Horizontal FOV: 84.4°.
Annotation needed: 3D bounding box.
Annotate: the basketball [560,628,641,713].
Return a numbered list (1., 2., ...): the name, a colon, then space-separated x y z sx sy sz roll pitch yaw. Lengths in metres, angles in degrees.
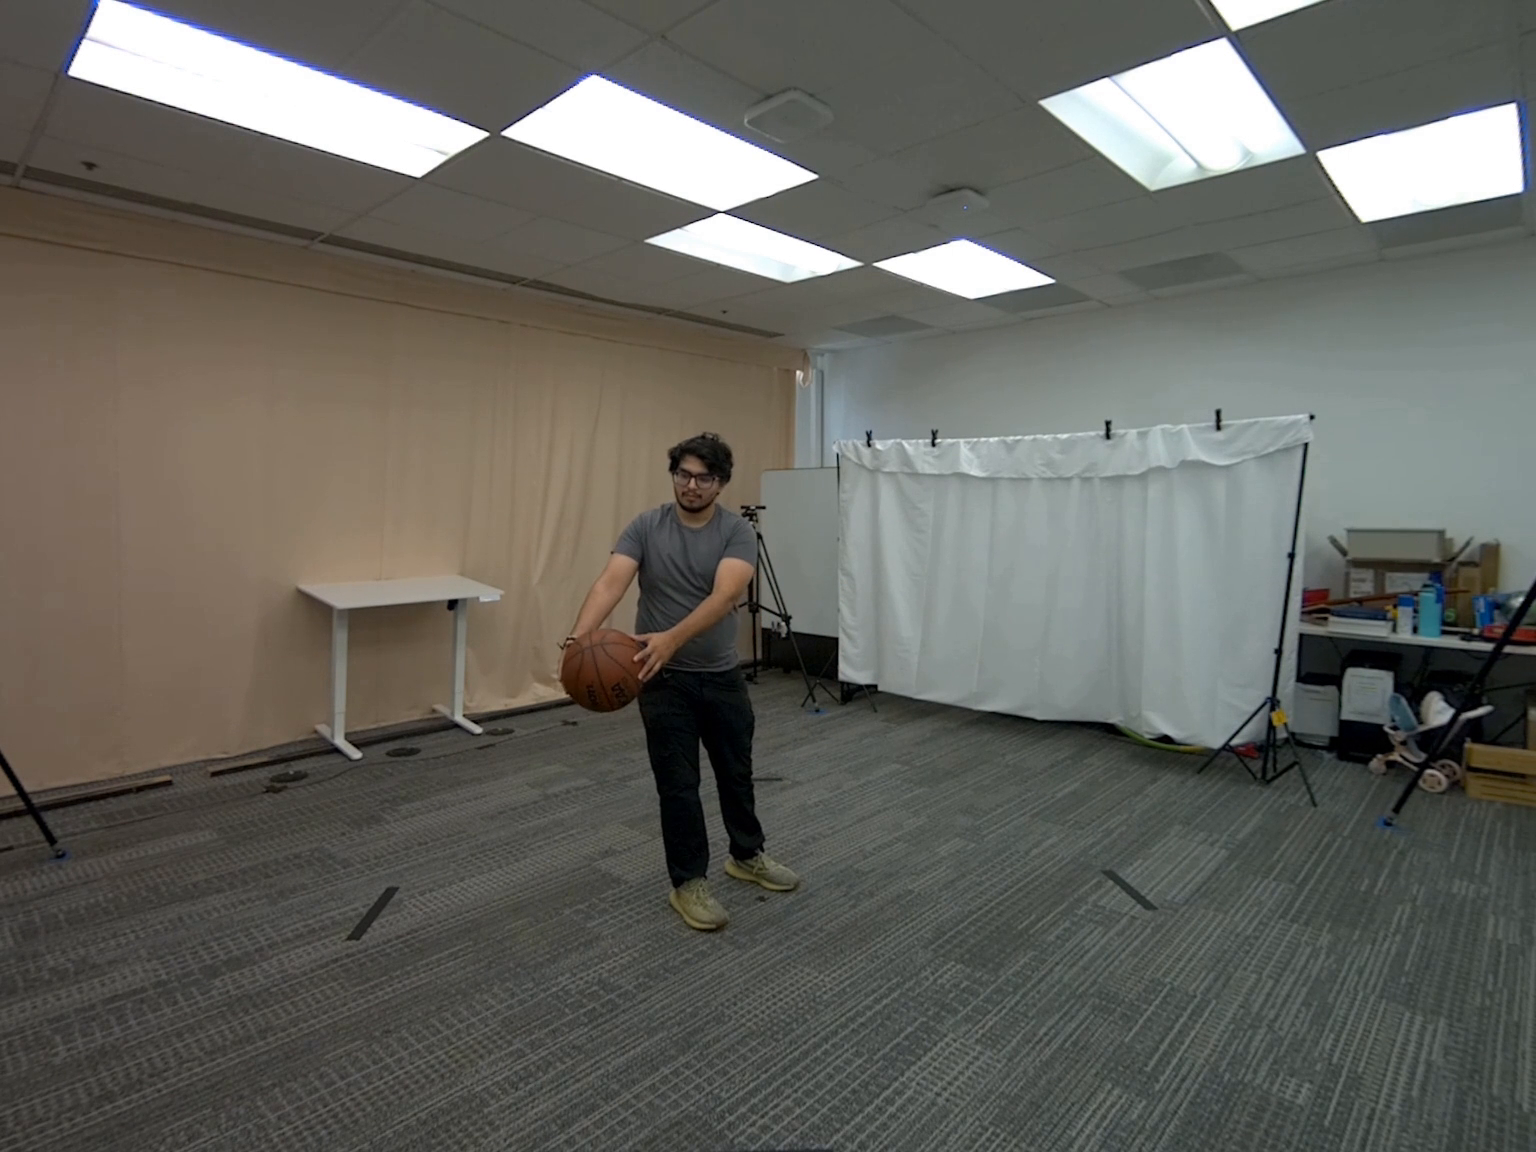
1. basketball: -0.456 0.273 2.410 0.236 0.235 0.237 0 4 -2
